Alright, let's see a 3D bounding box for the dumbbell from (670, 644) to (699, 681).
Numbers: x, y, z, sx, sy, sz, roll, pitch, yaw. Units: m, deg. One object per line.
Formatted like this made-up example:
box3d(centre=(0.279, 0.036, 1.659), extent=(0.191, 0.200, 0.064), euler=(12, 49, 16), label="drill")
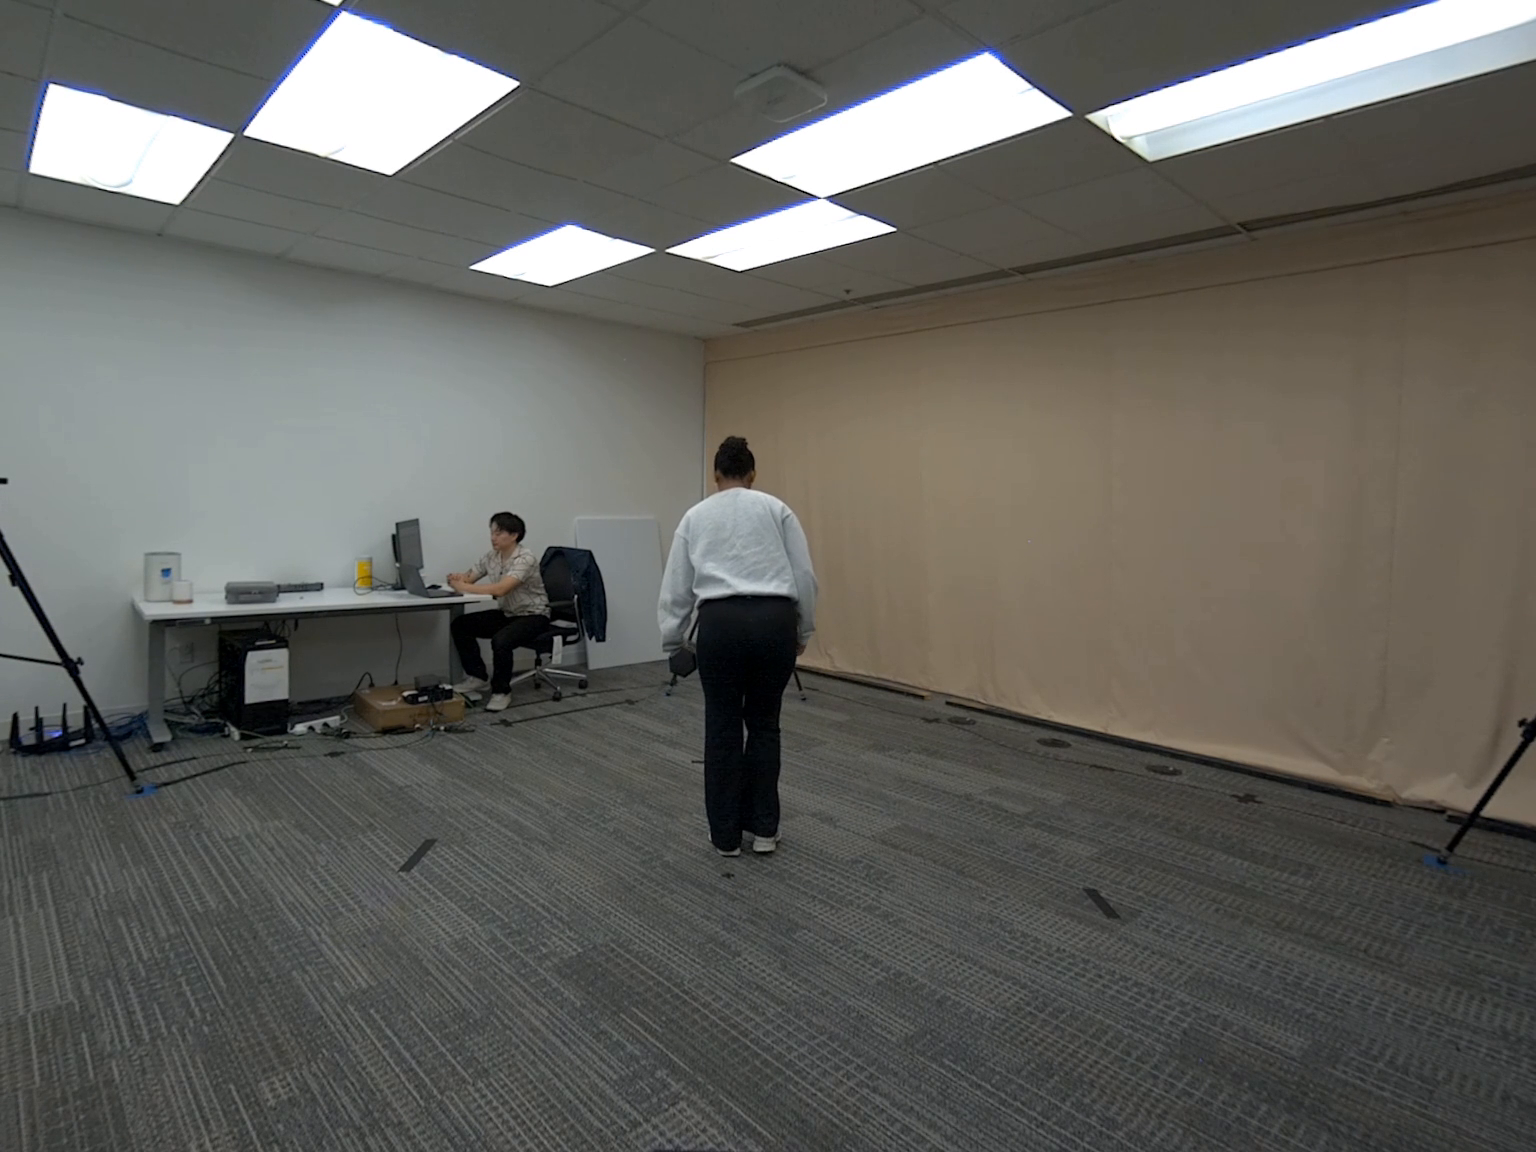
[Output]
box3d(centre=(-0.319, 0.332, 3.418), extent=(0.109, 0.123, 0.293), euler=(-9, 0, 1), label="dumbbell")
